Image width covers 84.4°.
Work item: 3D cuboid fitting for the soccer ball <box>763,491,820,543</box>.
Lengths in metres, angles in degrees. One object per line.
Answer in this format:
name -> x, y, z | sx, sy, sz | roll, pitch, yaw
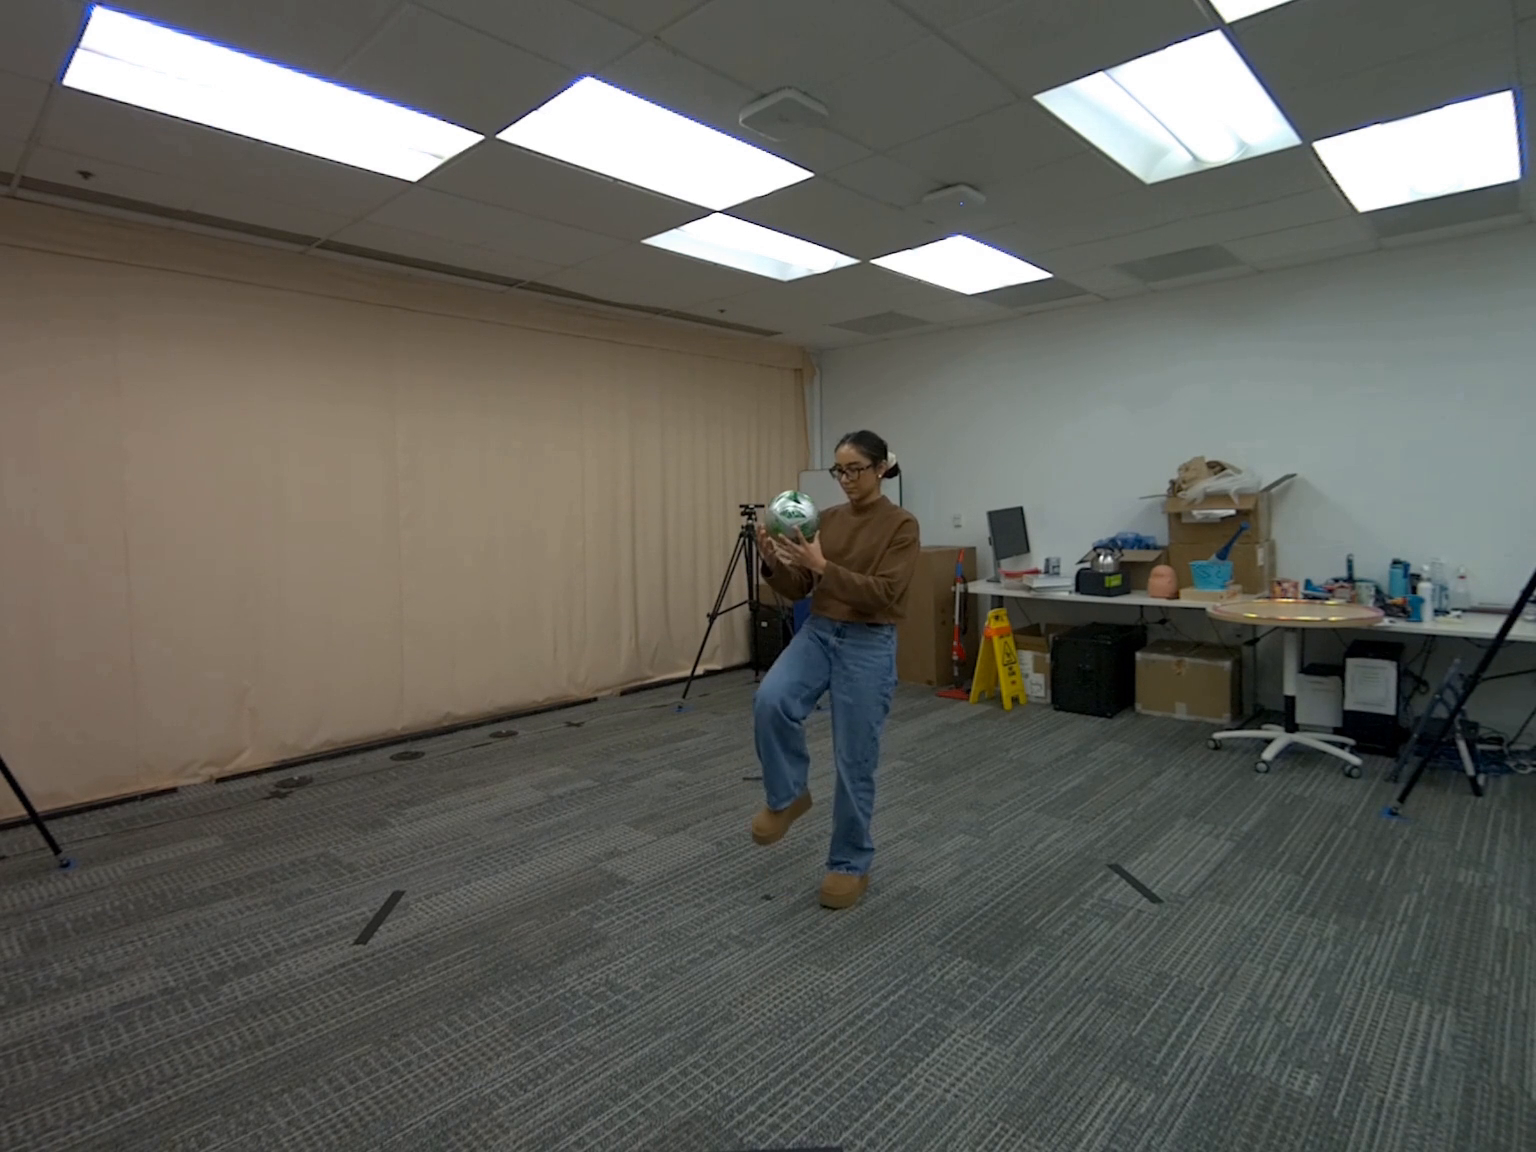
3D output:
soccer ball -> 0.075, -0.177, 2.801 | 0.187, 0.187, 0.188 | -1, 4, -2
